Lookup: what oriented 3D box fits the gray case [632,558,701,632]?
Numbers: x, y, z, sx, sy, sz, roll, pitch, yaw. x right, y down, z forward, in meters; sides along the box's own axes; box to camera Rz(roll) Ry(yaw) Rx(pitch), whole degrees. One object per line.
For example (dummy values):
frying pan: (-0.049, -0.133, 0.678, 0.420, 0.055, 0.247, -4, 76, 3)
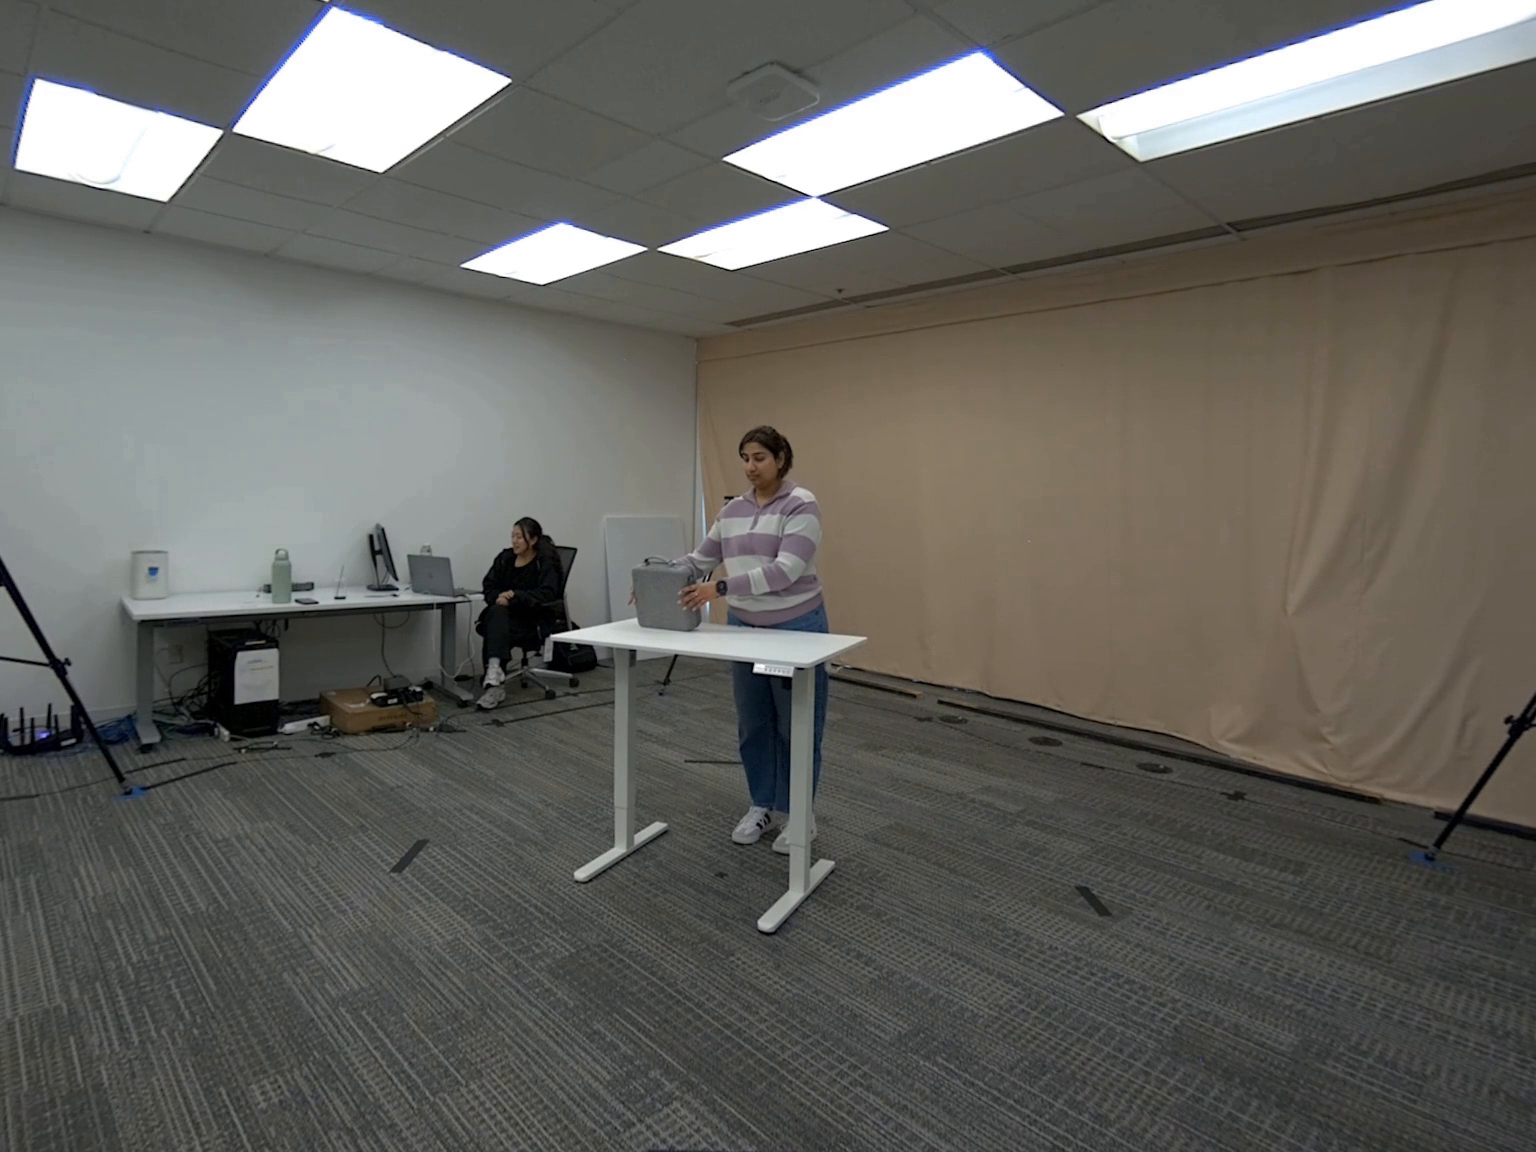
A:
gray case: (-0.397, 0.076, 3.229, 0.262, 0.258, 0.103, 2, 15, 30)
